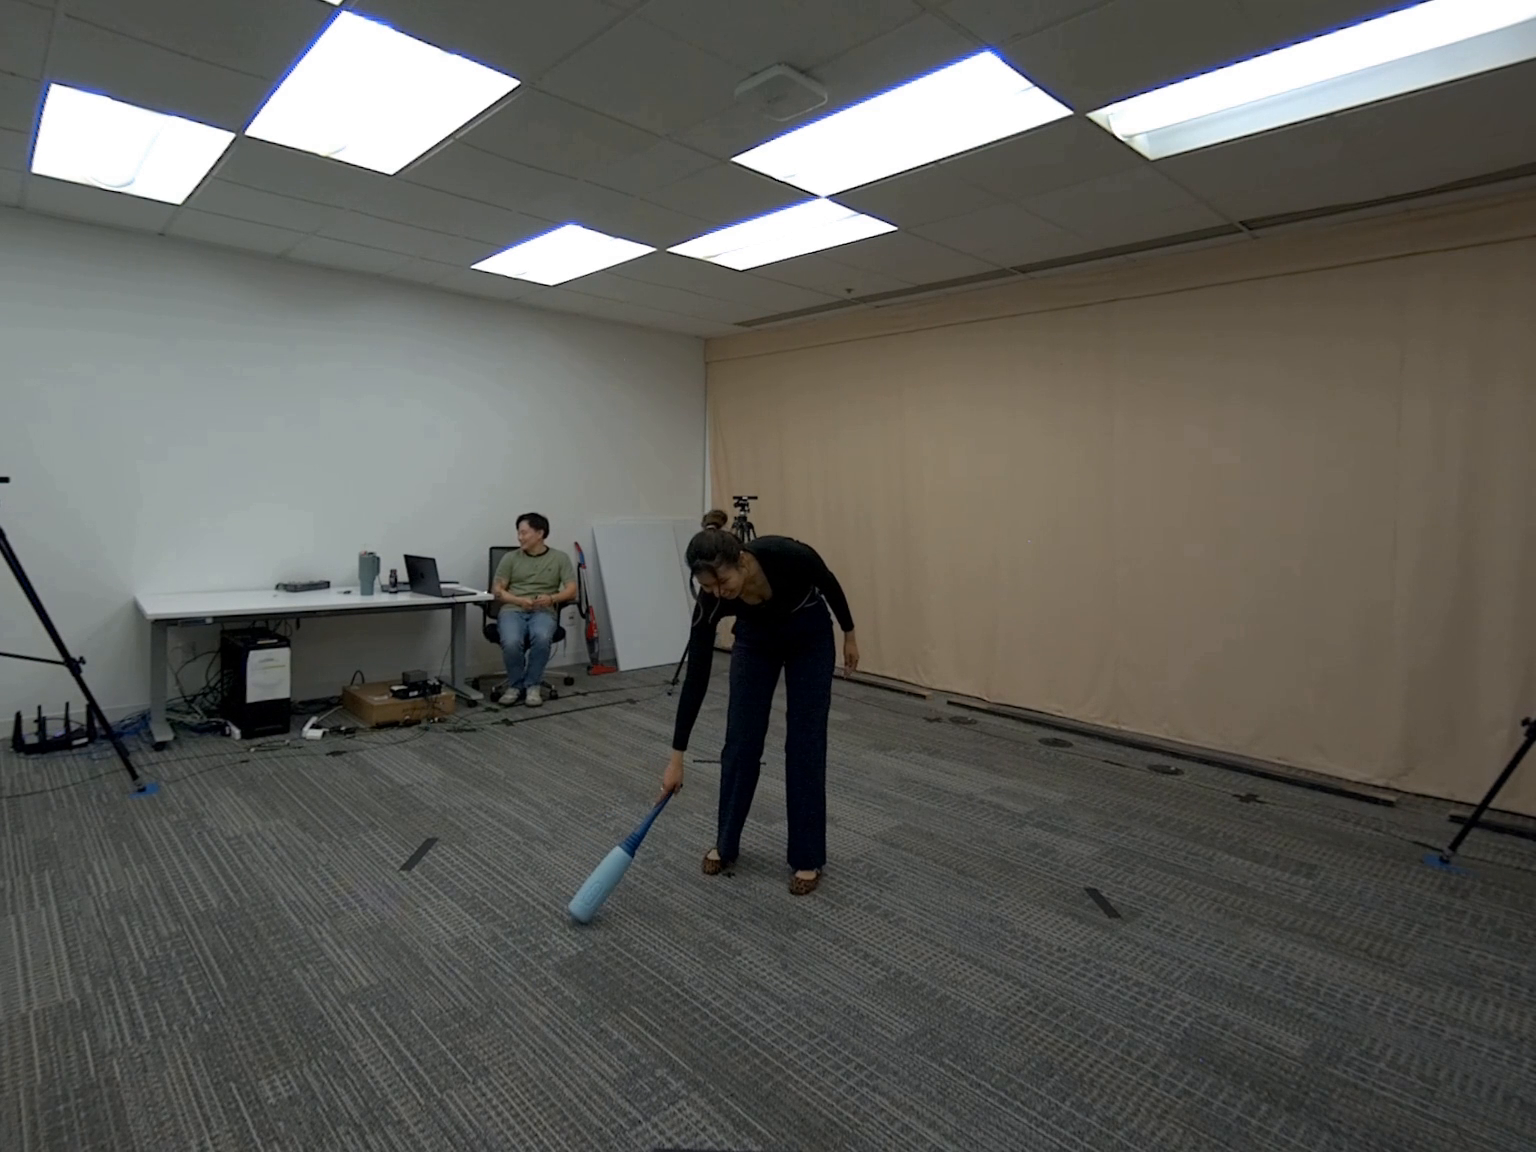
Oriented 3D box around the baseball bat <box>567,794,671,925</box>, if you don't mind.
[{"bbox_3d":[-0.477,0.911,2.825,0.090,0.543,0.087,35,-20,14],"label":"baseball bat"}]
